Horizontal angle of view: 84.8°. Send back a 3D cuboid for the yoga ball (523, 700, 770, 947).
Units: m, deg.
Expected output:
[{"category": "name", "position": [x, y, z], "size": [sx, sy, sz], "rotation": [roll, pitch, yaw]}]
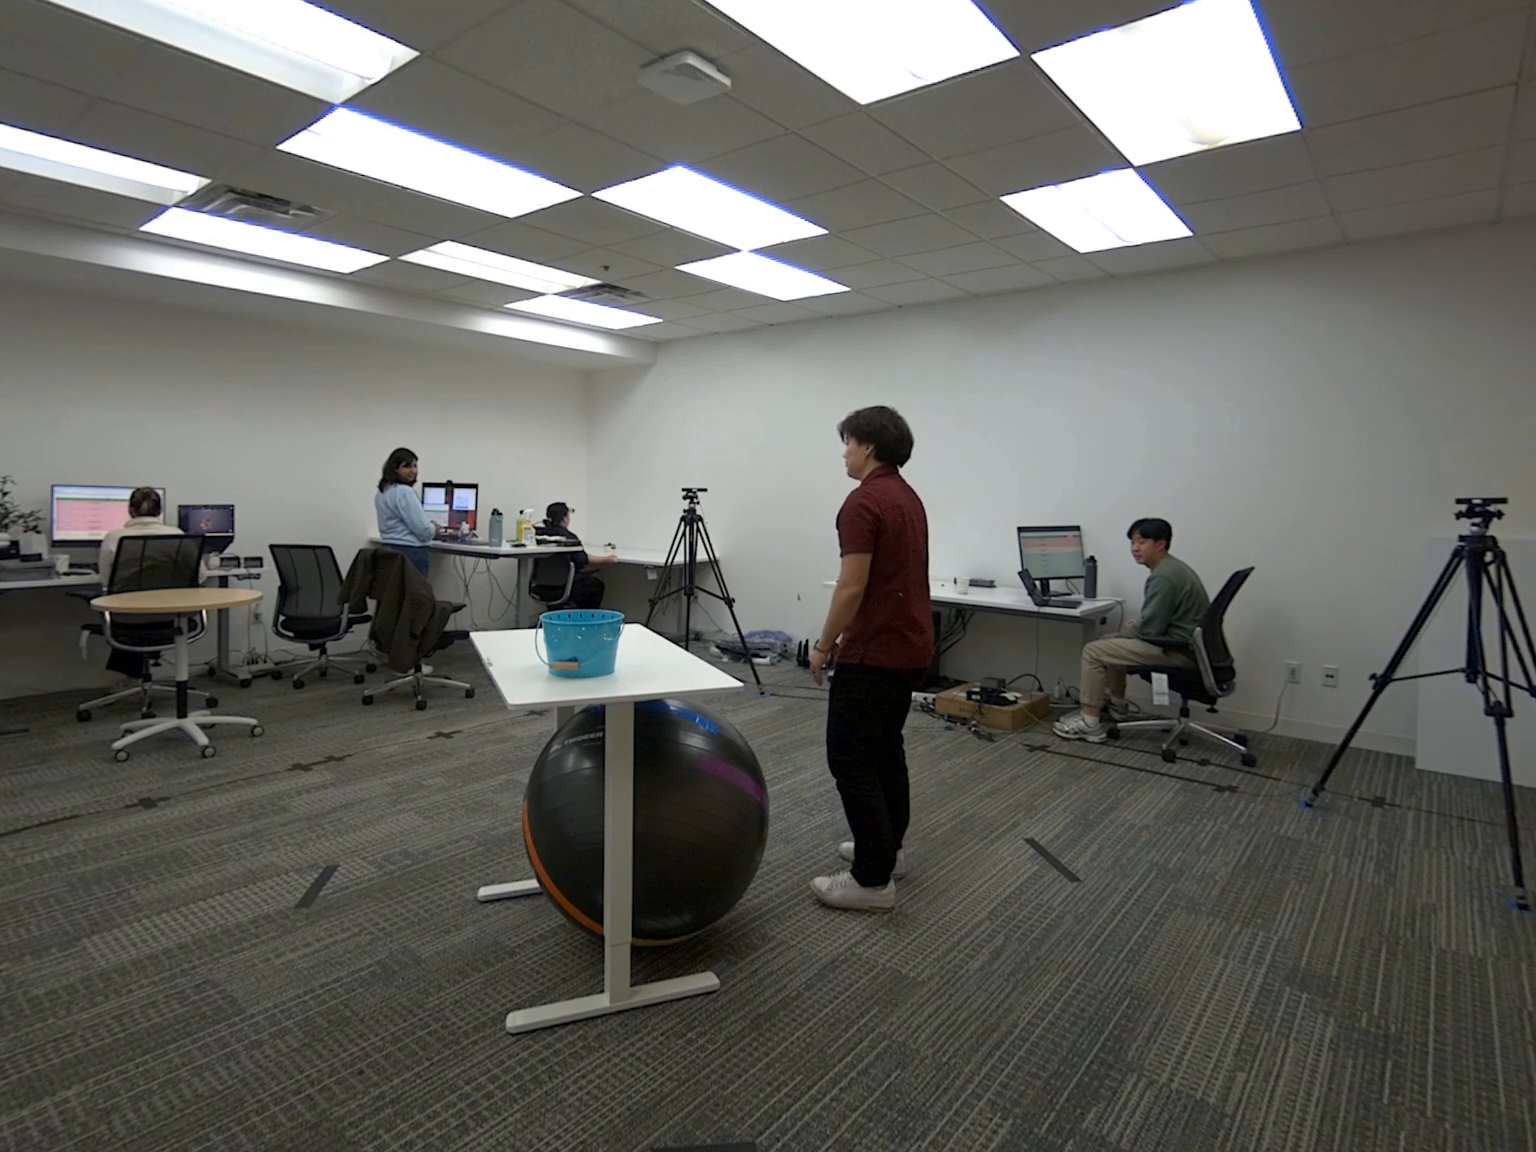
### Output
[{"category": "yoga ball", "position": [-0.384, 0.738, 2.653], "size": [0.757, 0.756, 0.762], "rotation": [1, 4, -2]}]
